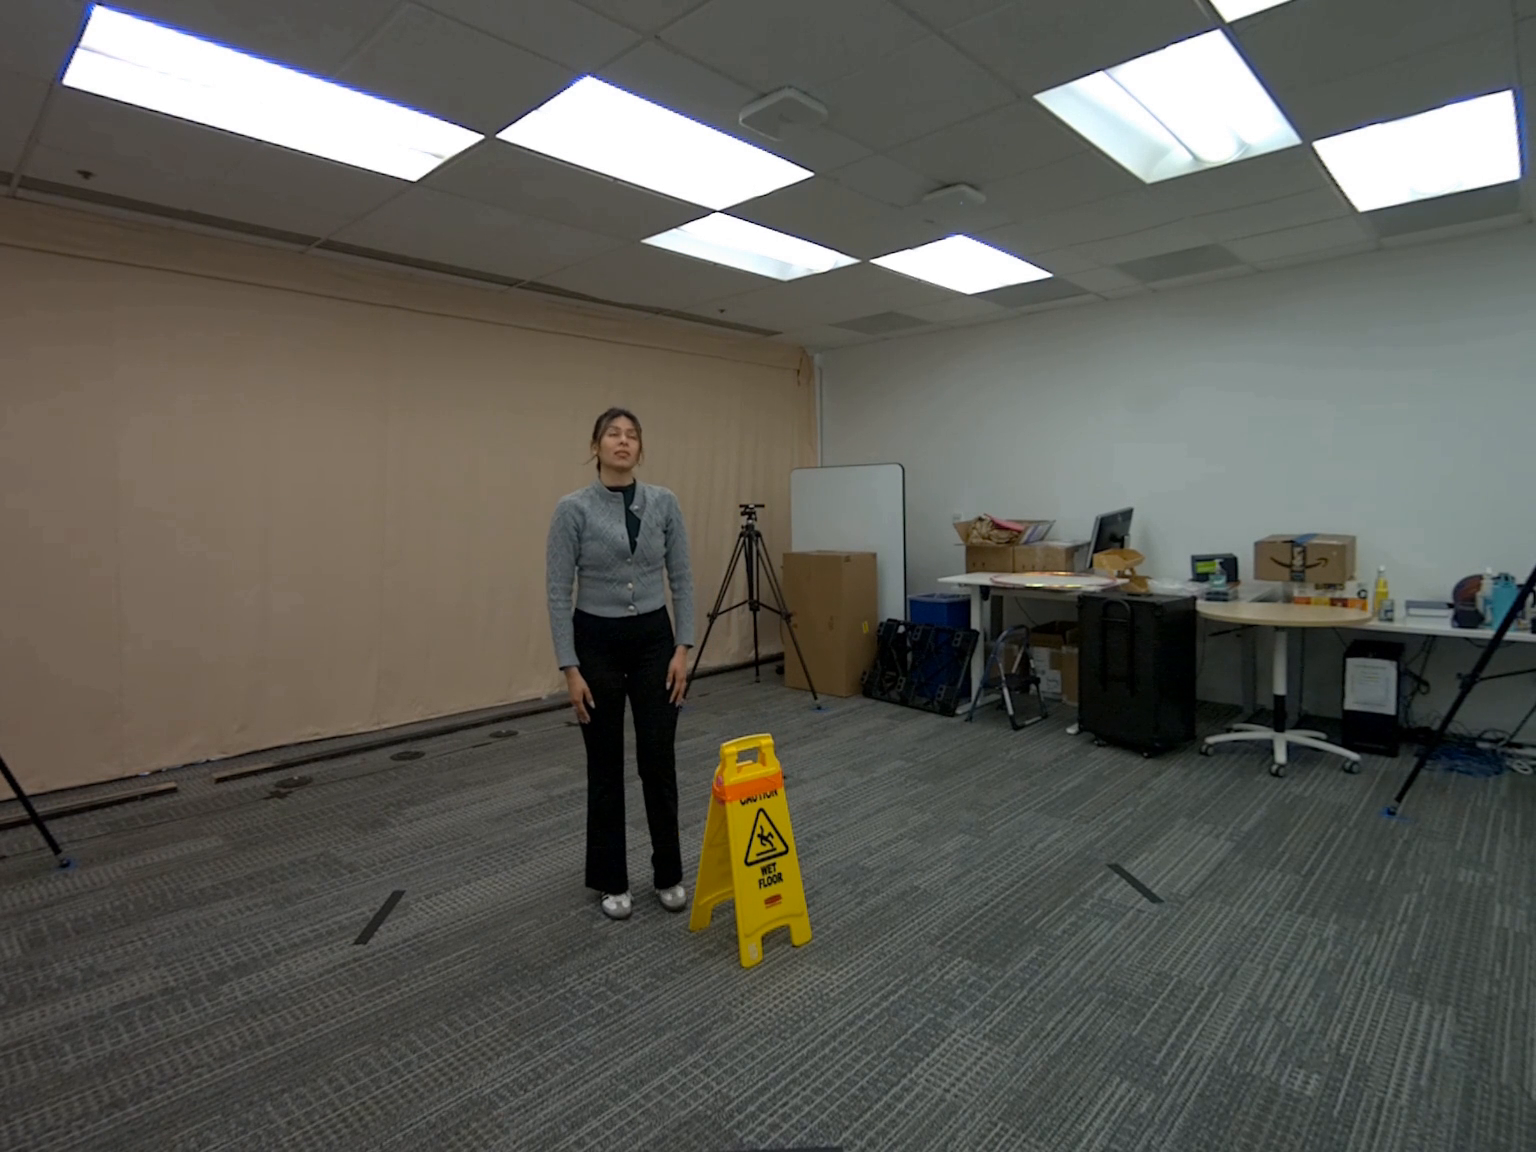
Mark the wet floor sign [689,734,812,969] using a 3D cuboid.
[{"bbox_3d":[-0.058,0.841,2.701,0.274,0.644,0.299,-5,5,-37],"label":"wet floor sign"}]
